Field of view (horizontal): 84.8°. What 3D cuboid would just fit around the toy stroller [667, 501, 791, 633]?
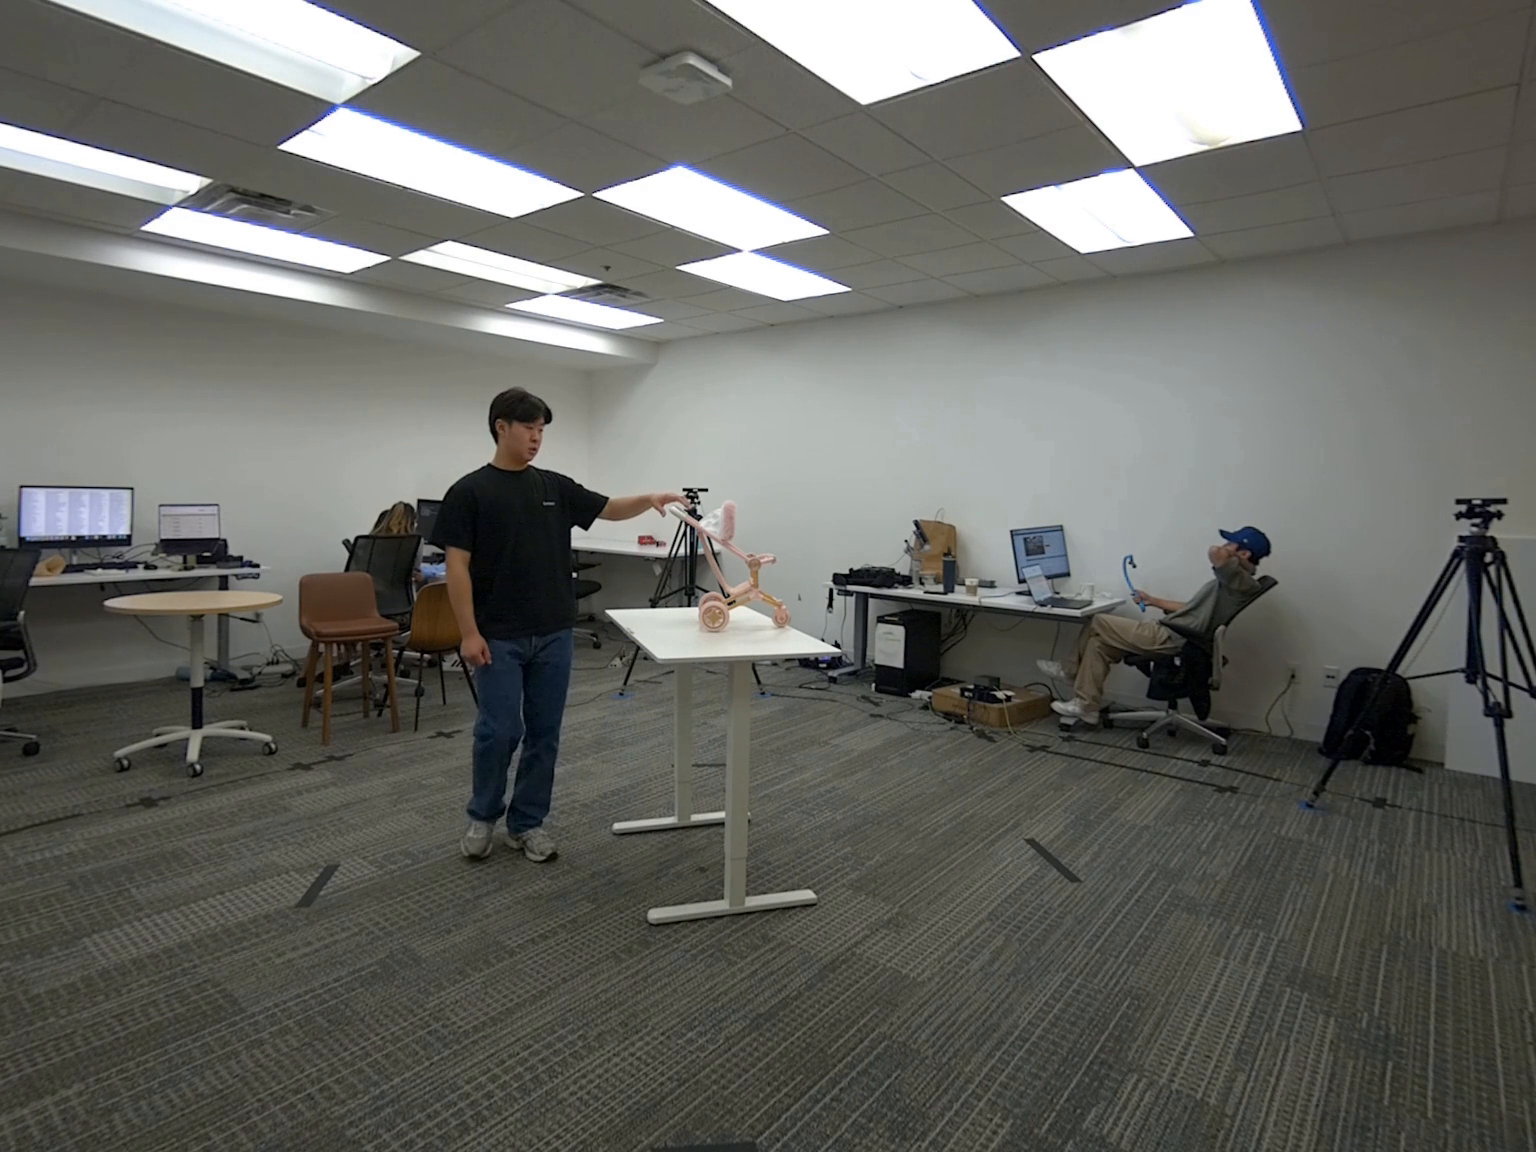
[{"bbox_3d":[-0.135,-0.038,3.124,0.342,0.533,0.281,-14,3,4],"label":"toy stroller"}]
